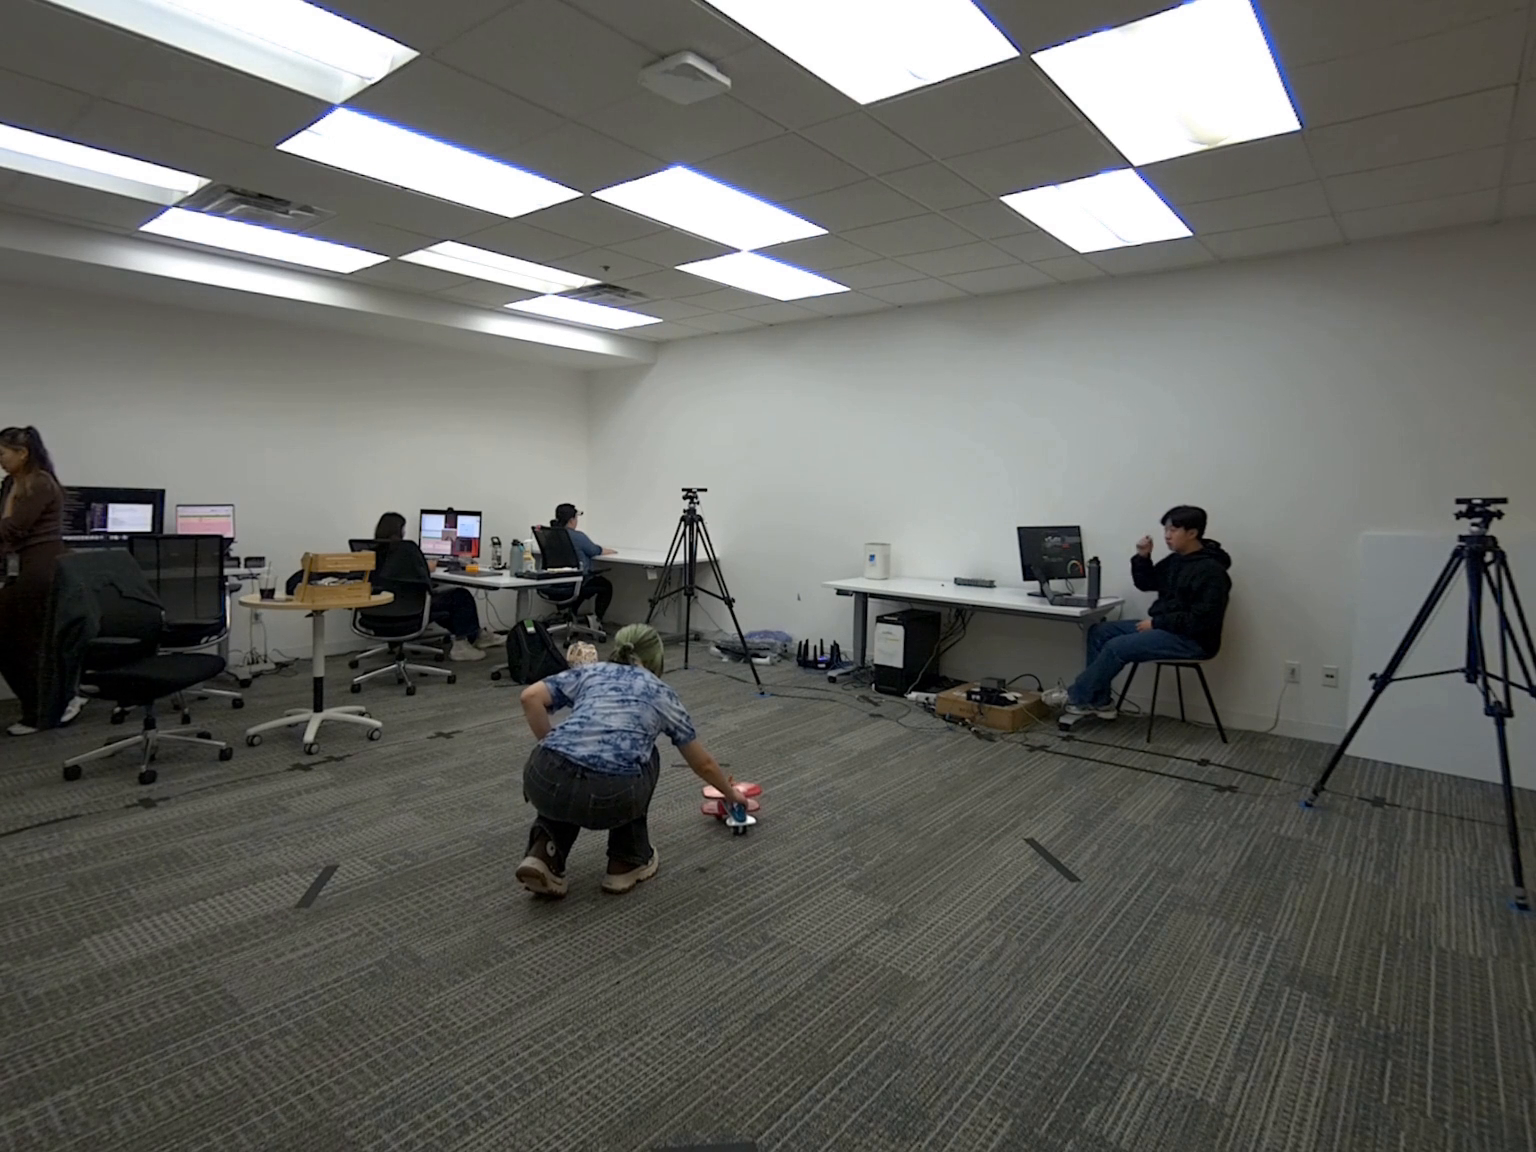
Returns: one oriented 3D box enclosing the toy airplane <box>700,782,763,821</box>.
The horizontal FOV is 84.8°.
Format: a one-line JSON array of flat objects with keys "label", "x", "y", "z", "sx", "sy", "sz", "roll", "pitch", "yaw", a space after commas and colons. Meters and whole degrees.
[{"label": "toy airplane", "x": -0.139, "y": 0.955, "z": 3.527, "sx": 0.243, "sy": 0.156, "sz": 0.268, "roll": -3, "pitch": 5, "yaw": -44}]
